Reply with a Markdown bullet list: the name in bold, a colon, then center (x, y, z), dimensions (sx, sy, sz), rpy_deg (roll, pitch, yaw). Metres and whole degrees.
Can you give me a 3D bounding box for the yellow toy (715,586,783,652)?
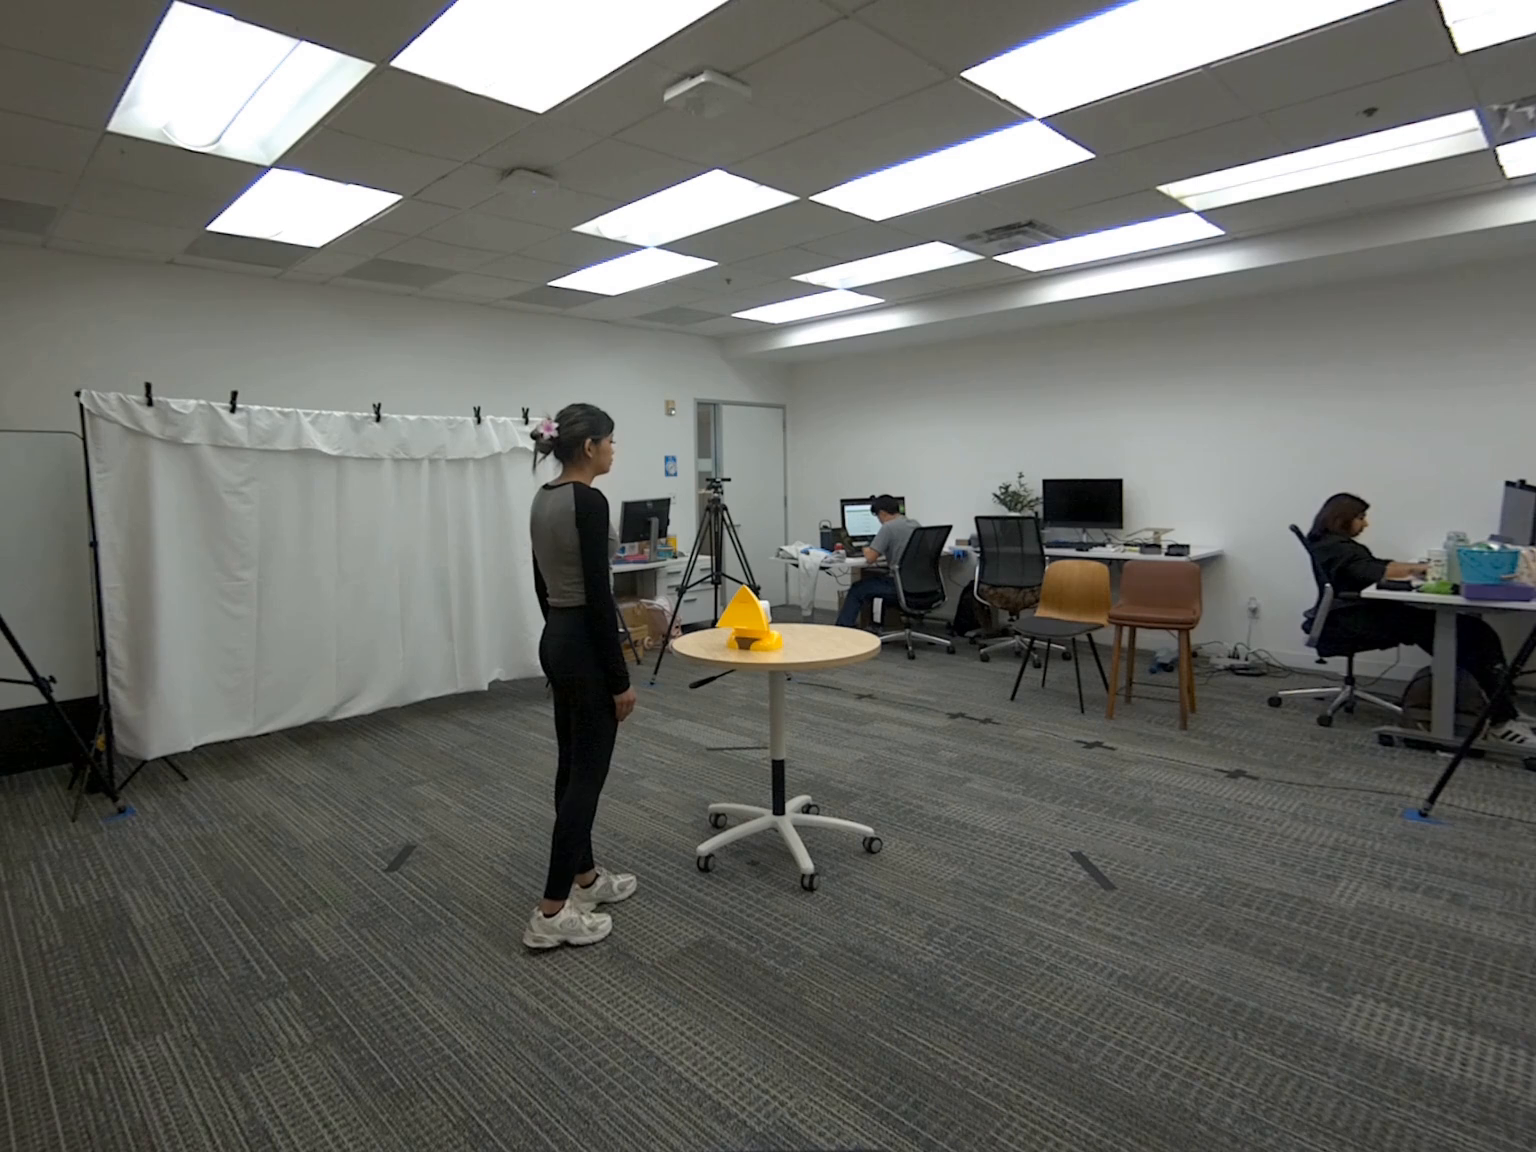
- **yellow toy**: center (-0.054, 0.138, 3.067), dimensions (0.210, 0.230, 0.189), rpy_deg (2, 6, 29)
